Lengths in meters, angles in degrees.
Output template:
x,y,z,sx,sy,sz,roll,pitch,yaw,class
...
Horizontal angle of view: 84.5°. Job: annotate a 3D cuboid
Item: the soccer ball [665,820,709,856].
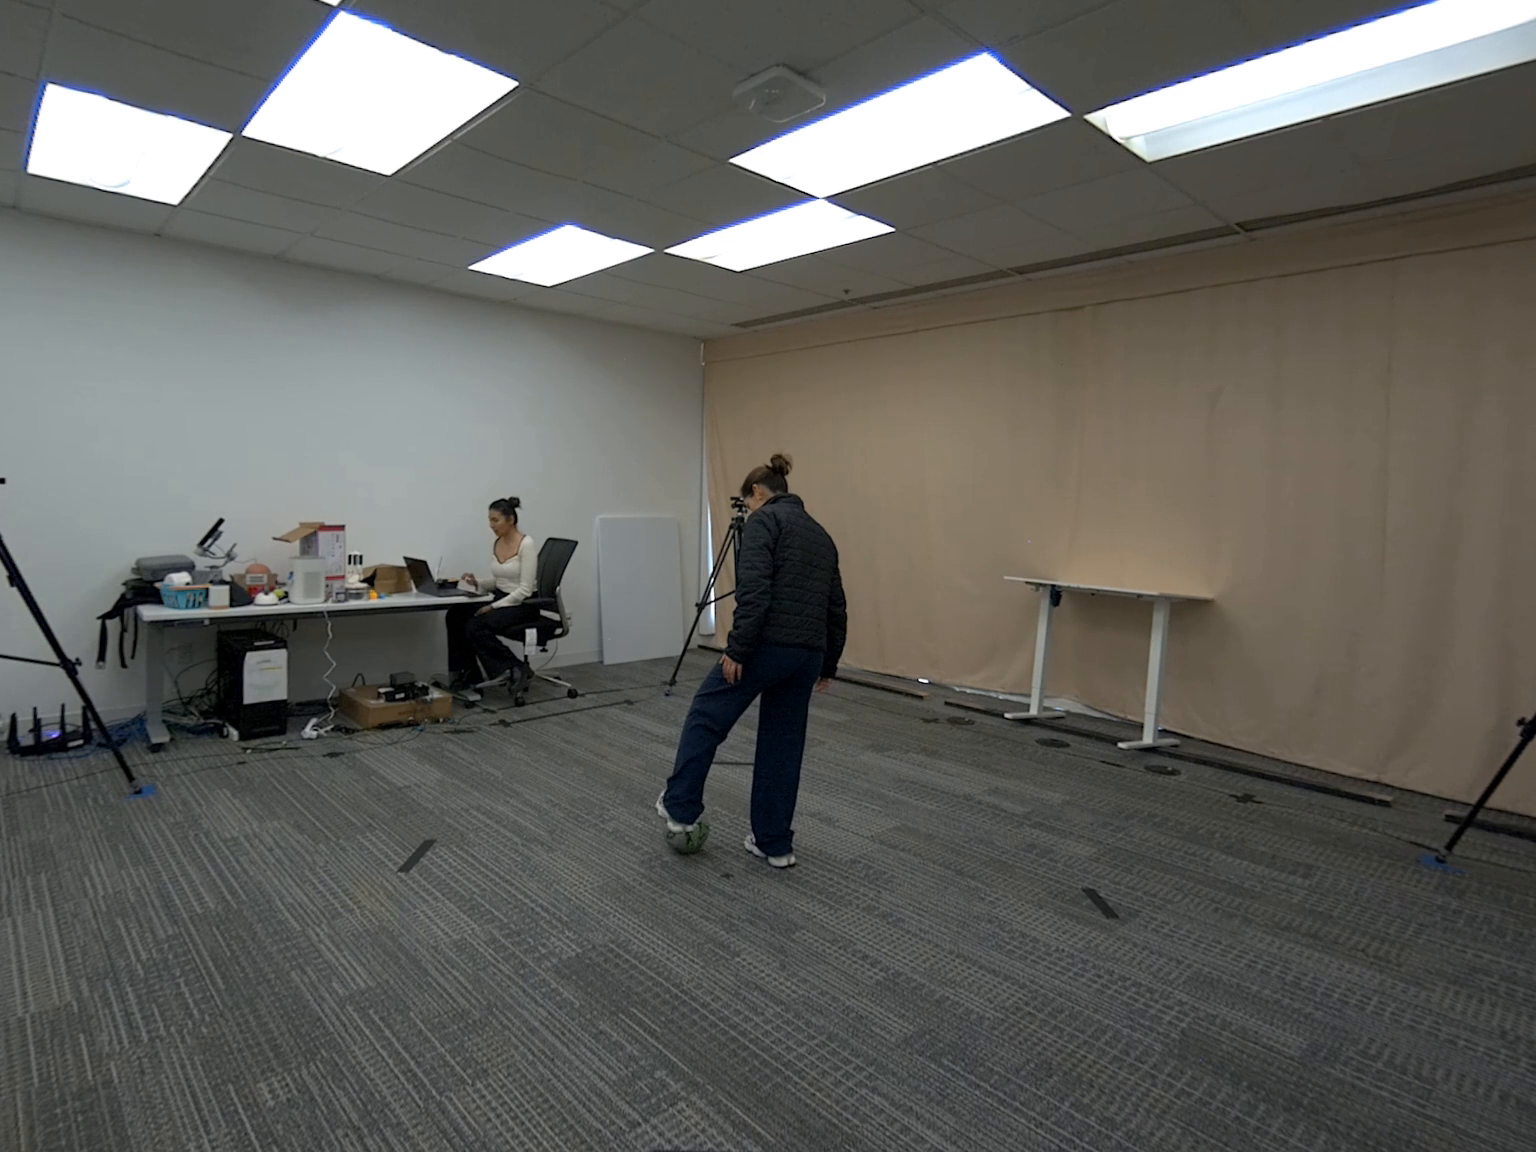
x,y,z,sx,sy,sz,roll,pitch,yaw,class
-0.323,0.981,3.306,0.187,0.187,0.188,1,4,-1,soccer ball
